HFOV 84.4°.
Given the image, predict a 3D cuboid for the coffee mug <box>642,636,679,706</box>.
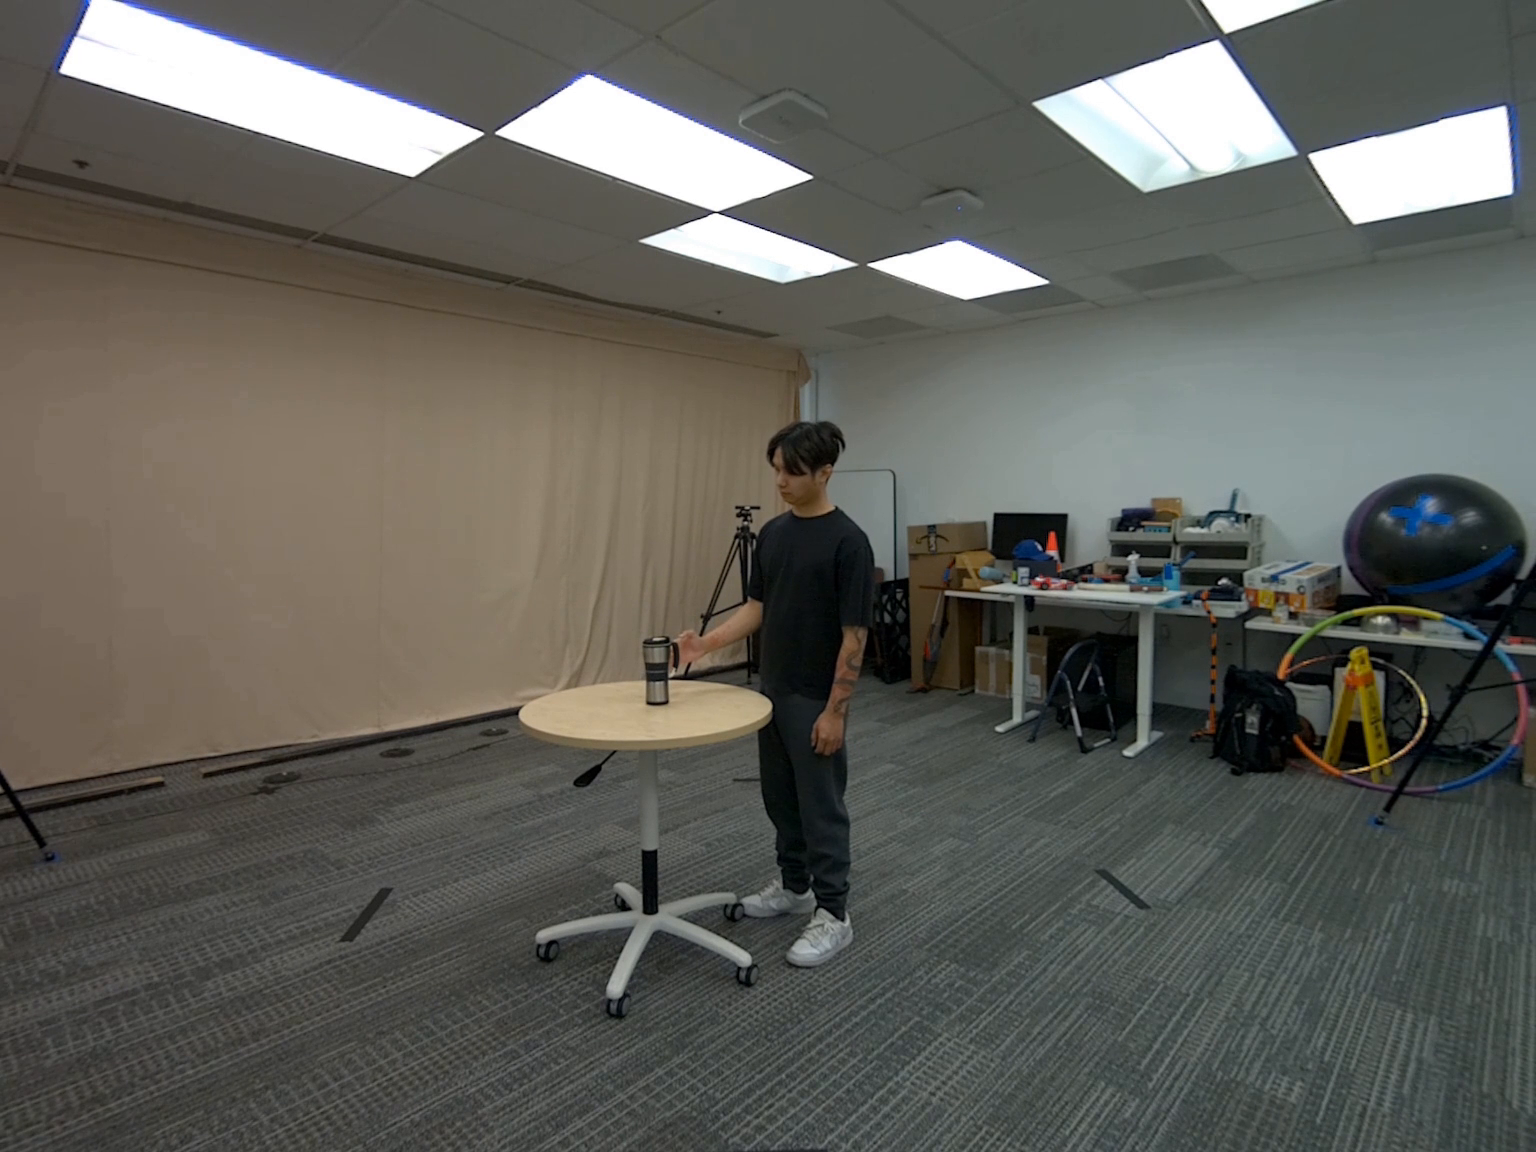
[{"bbox_3d":[-0.319,0.300,2.602,0.122,0.203,0.088,-1,0,0],"label":"coffee mug"}]
